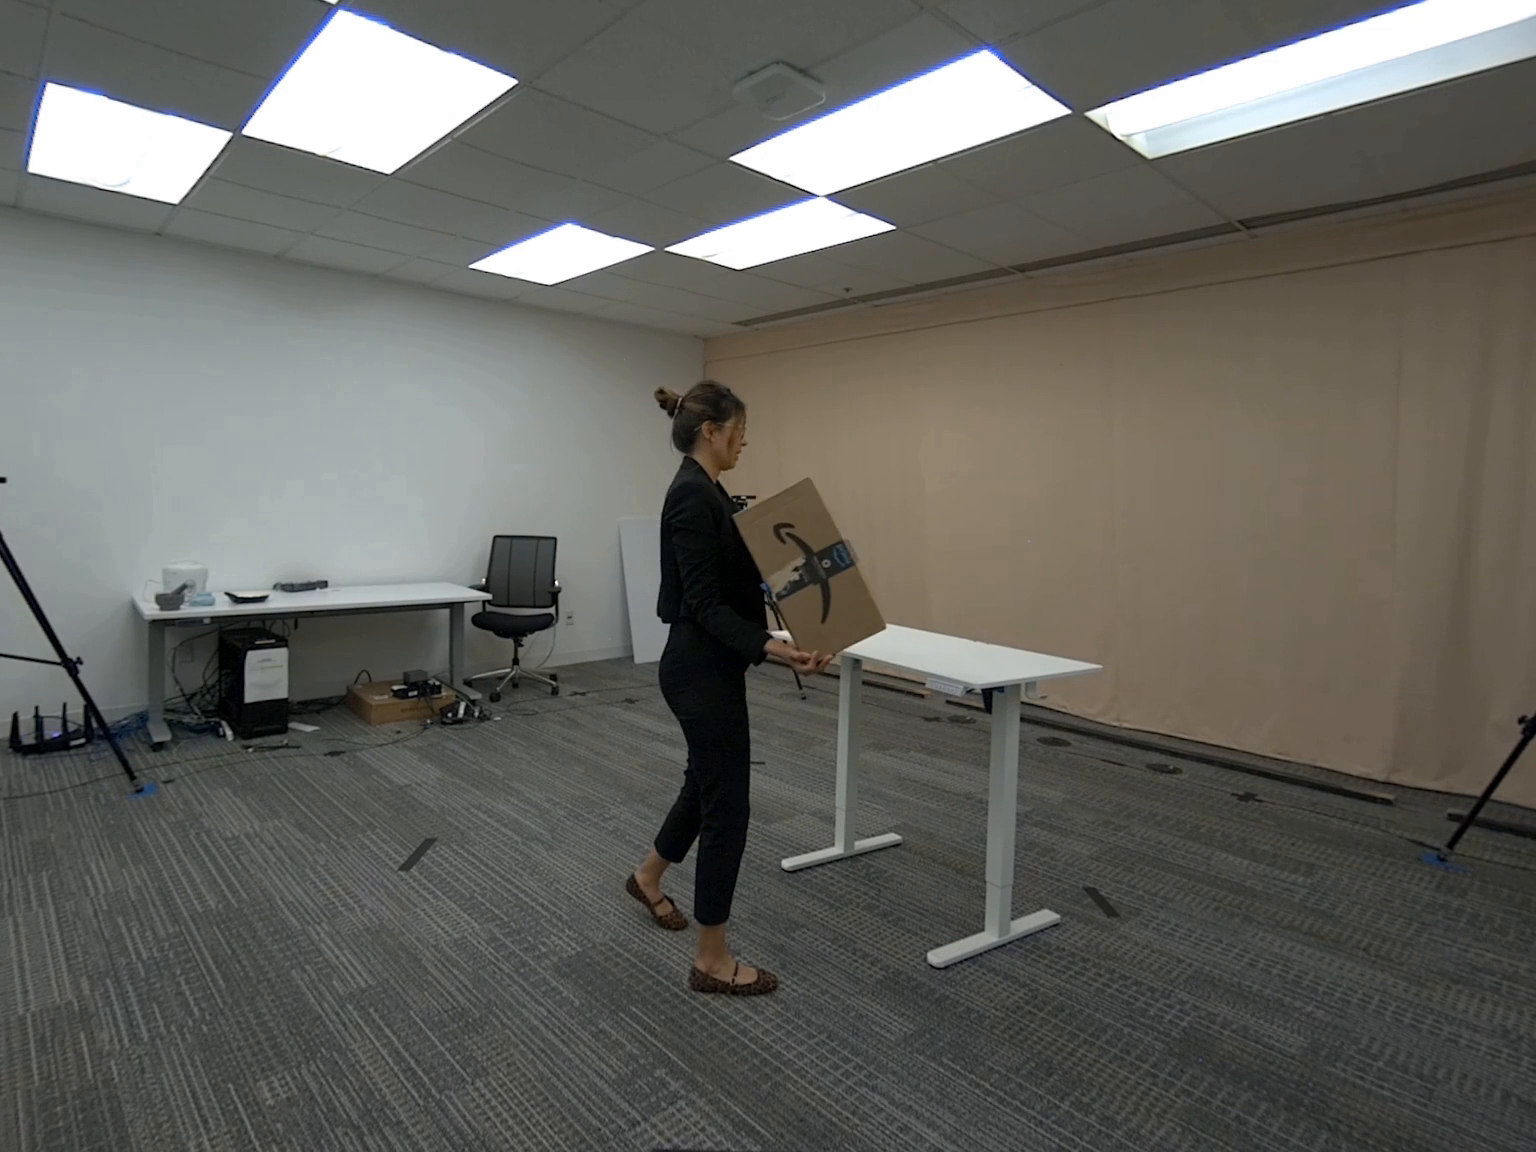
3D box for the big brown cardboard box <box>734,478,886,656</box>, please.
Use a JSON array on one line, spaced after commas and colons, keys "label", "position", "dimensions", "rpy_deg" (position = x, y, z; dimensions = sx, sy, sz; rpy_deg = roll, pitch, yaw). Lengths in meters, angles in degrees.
[{"label": "big brown cardboard box", "position": [0.120, -0.016, 2.322], "dimensions": [0.234, 0.419, 0.585], "rpy_deg": [-27, -3, 6]}]
